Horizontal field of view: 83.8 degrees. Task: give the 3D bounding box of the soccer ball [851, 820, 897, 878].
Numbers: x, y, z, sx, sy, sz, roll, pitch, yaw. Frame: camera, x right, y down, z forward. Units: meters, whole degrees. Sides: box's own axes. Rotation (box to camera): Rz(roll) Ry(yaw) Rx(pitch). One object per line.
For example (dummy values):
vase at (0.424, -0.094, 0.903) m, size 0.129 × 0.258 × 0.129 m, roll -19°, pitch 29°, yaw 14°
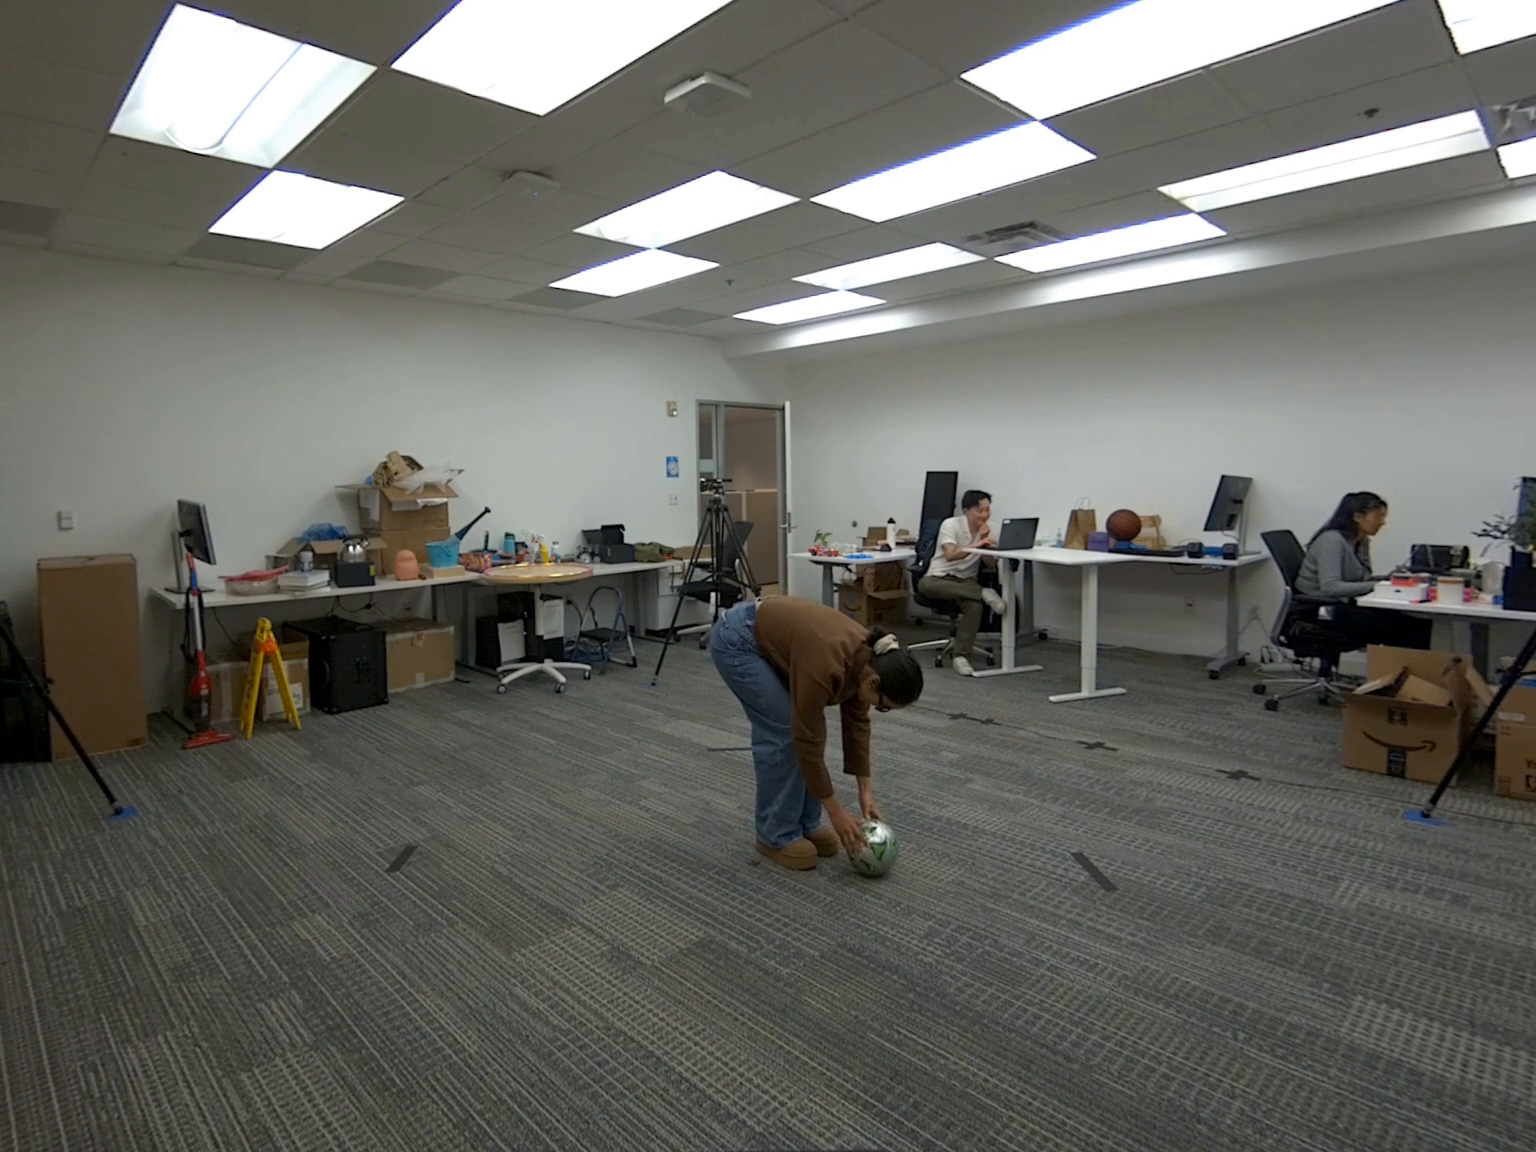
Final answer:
soccer ball at (0.367, 0.949, 3.010) m, size 0.187 × 0.187 × 0.188 m, roll -1°, pitch 5°, yaw -2°
